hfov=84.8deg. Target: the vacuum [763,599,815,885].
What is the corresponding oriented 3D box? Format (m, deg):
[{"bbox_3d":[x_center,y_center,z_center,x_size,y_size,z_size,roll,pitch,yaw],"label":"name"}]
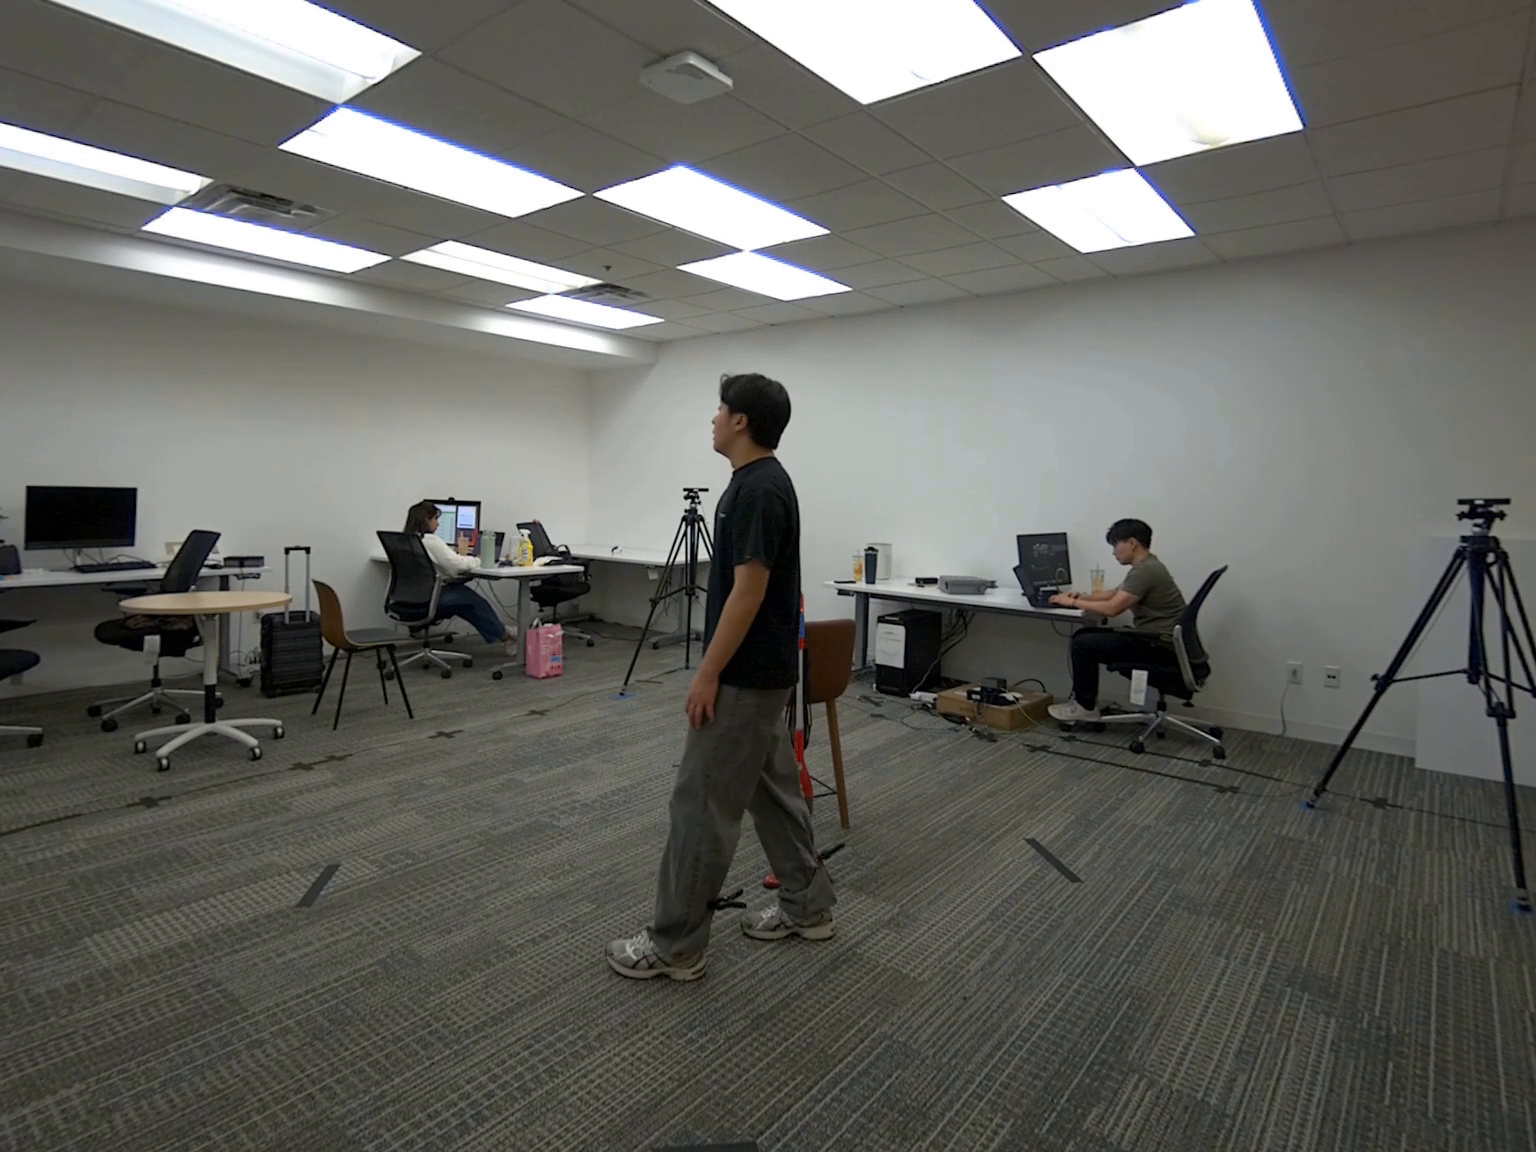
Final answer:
[{"bbox_3d":[0.116,0.570,3.205,0.252,1.066,0.142,2,-18,-3],"label":"vacuum"}]
